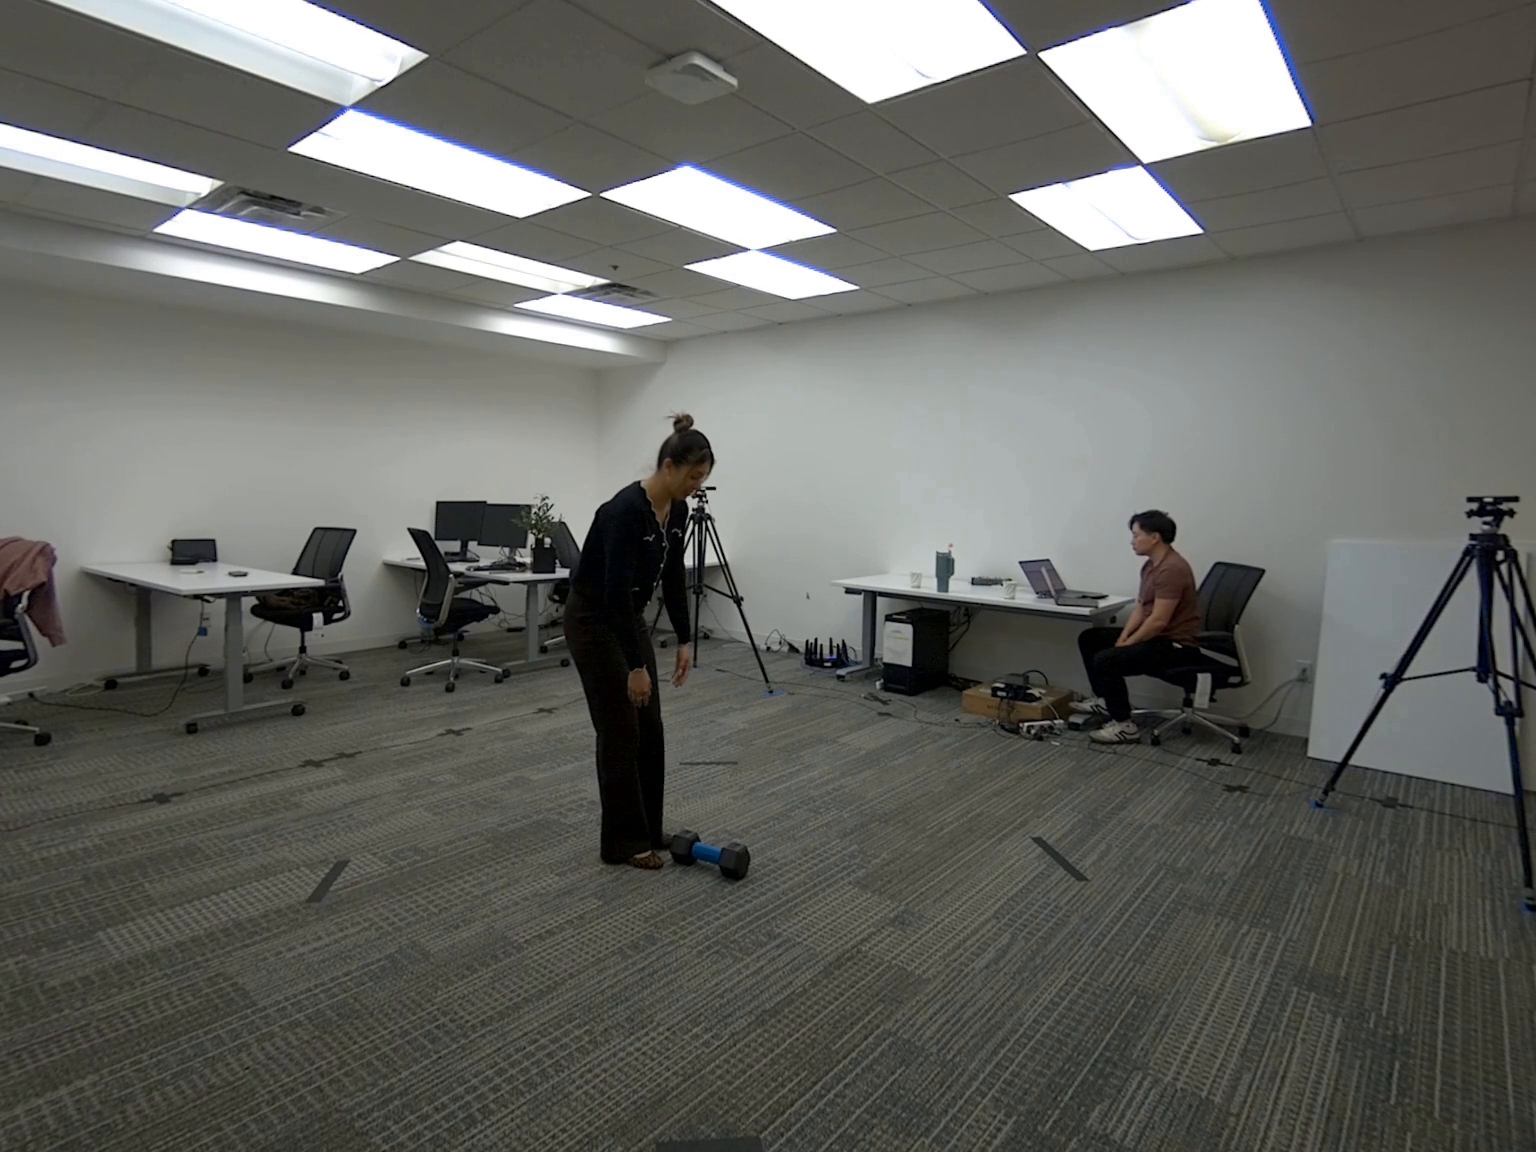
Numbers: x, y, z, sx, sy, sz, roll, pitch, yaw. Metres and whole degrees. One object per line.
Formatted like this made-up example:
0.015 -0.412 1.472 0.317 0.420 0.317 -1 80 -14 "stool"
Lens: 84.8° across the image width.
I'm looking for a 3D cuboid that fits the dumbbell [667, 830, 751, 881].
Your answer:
-0.222 1.011 3.107 0.302 0.124 0.104 3 -23 30 "dumbbell"
